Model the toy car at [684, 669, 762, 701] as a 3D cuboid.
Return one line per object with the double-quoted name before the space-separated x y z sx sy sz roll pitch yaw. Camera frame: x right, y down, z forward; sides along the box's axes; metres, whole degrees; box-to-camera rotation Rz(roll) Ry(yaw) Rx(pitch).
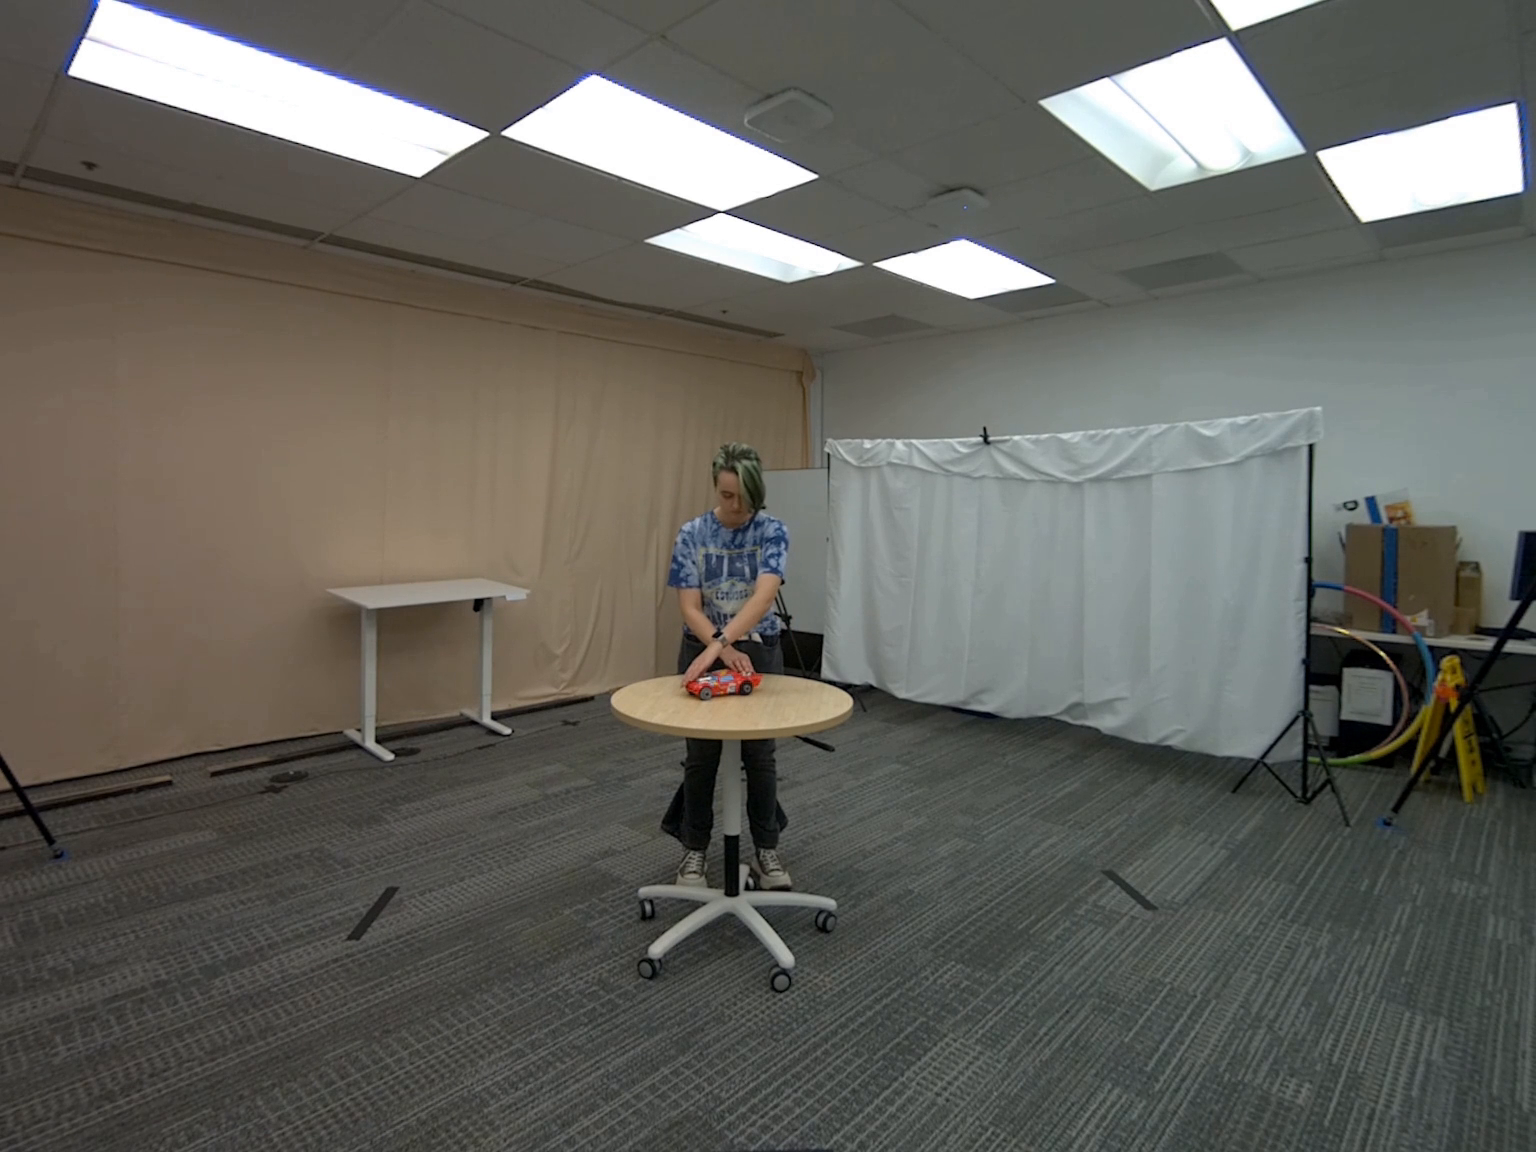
"toy car" -0.133 0.351 2.727 0.249 0.082 0.134 -15 11 -26
